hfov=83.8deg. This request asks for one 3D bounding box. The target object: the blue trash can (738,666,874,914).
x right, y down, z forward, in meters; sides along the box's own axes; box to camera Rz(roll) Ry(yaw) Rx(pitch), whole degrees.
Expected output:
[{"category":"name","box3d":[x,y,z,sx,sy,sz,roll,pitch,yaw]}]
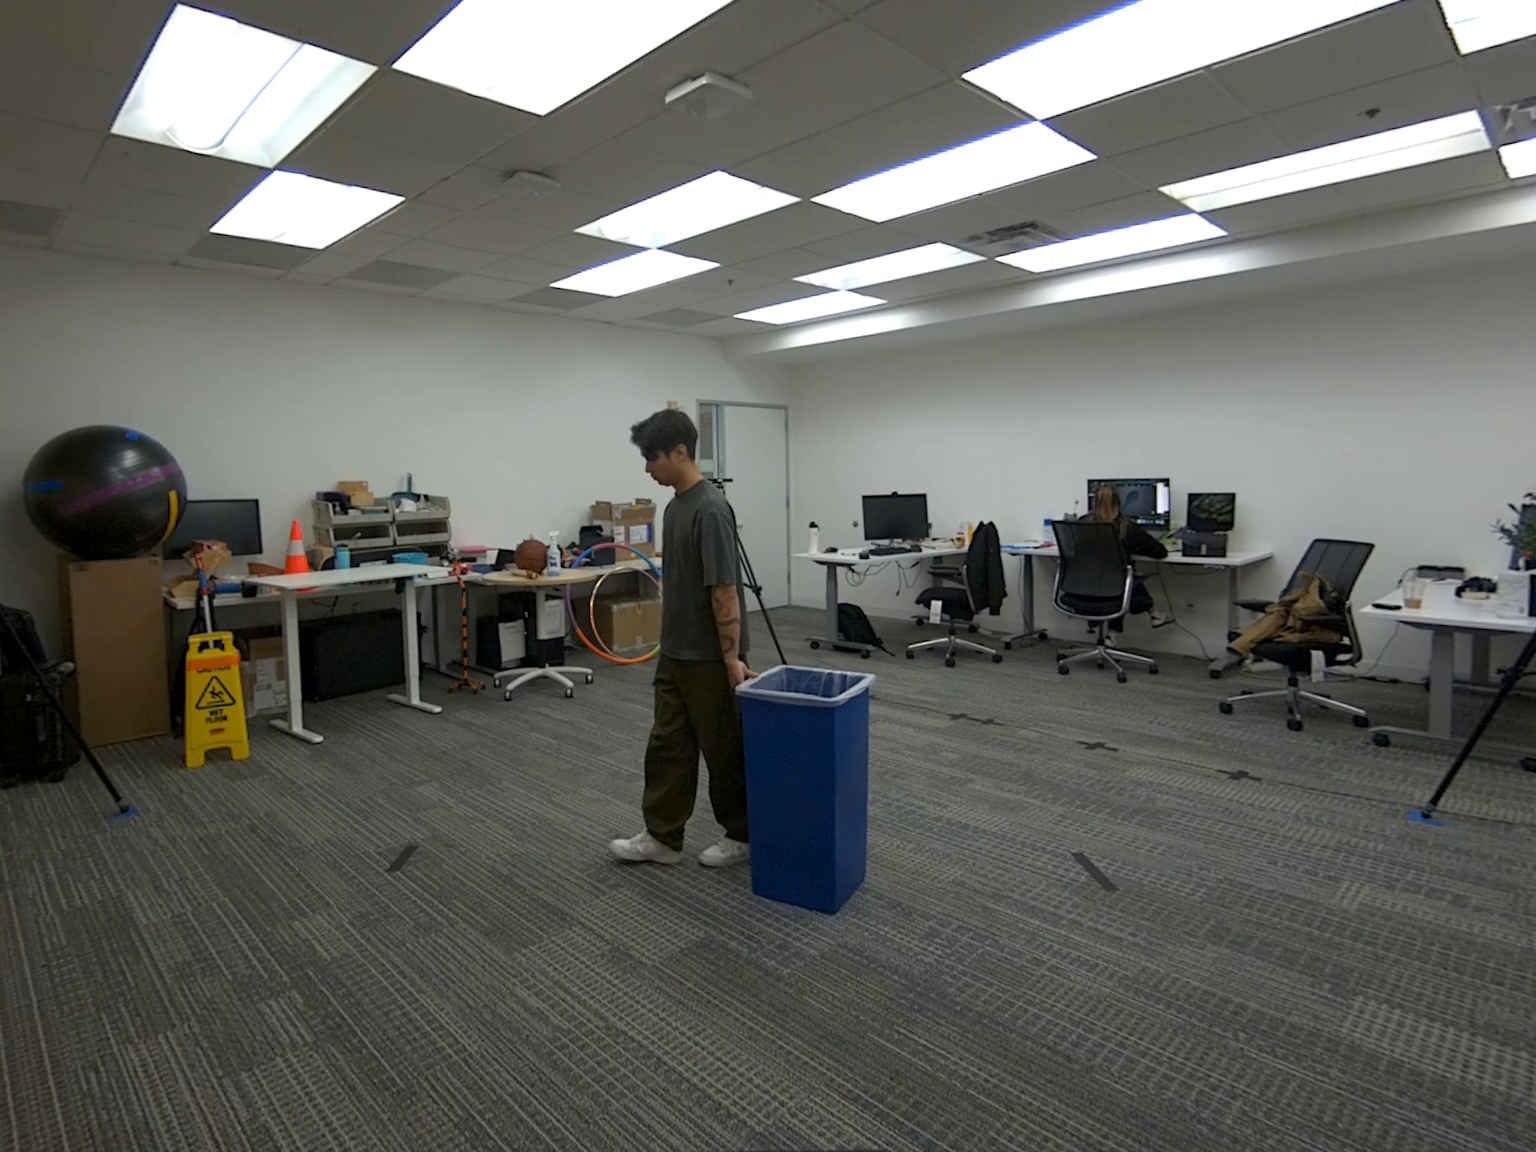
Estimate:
[{"category":"blue trash can","box3d":[0.137,0.708,2.894,0.387,0.711,0.366,1,4,28]}]
